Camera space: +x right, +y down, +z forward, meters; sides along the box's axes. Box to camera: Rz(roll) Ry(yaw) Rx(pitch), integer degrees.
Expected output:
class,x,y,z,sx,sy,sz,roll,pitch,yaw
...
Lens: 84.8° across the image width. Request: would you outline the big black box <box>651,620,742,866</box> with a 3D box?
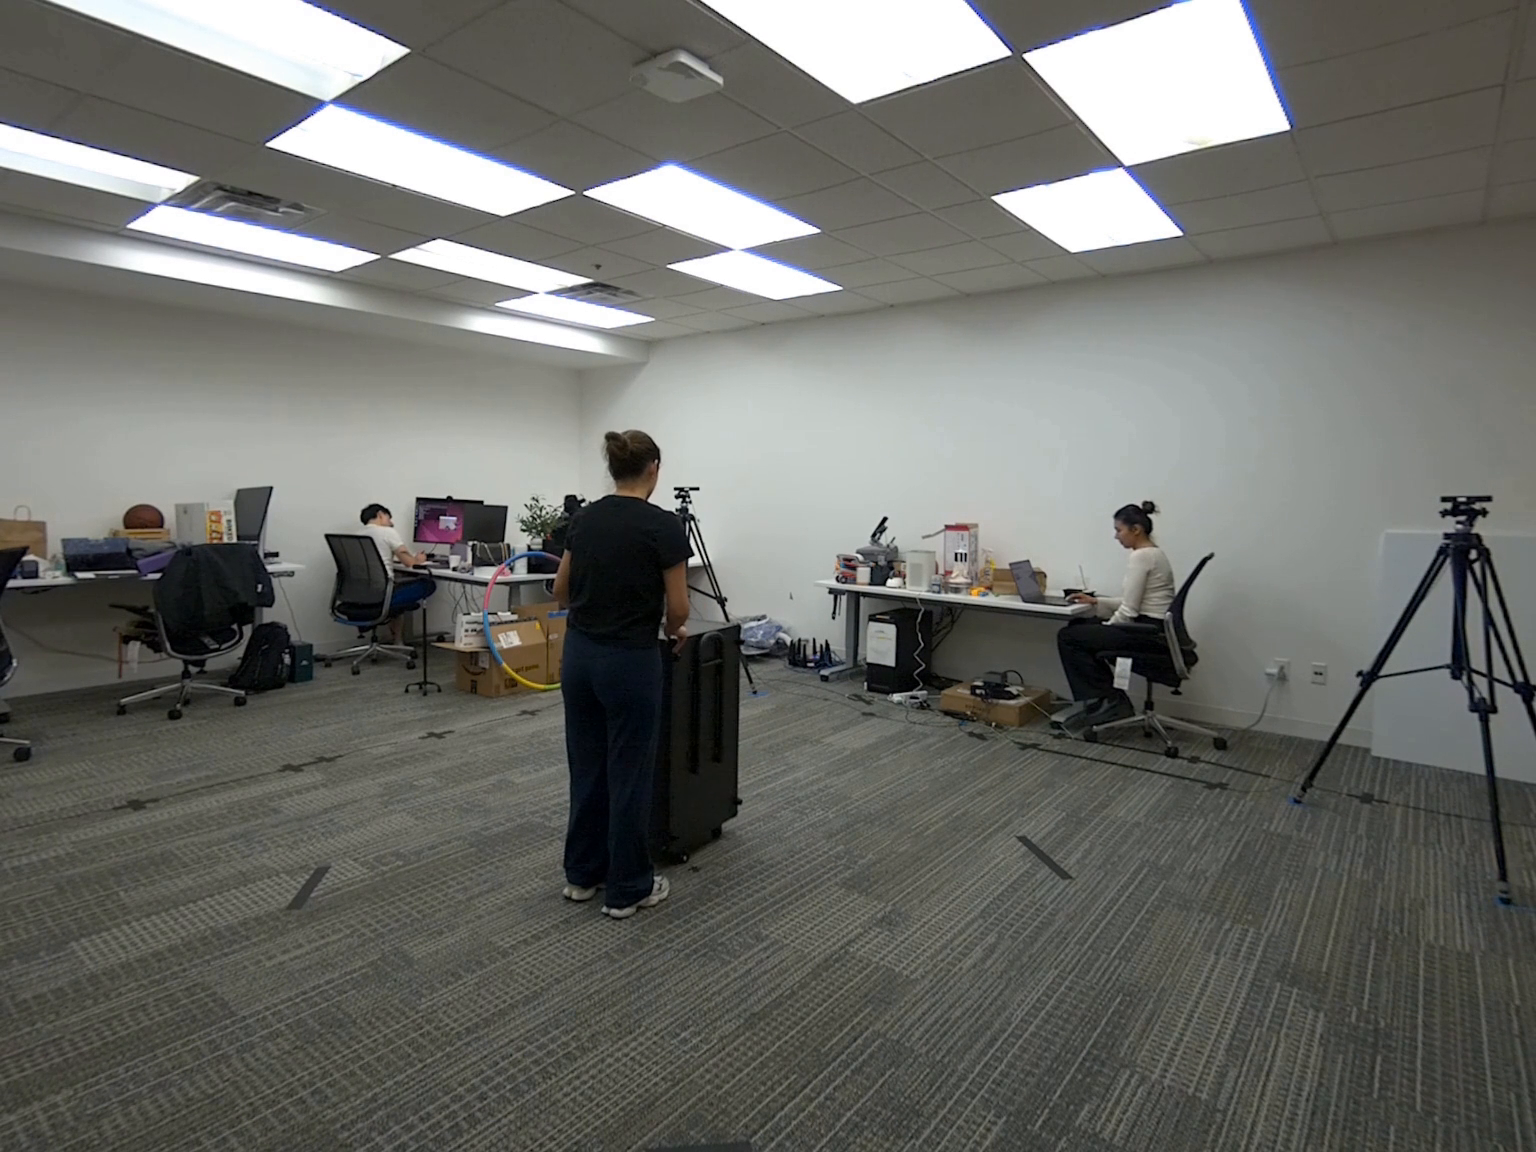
class,x,y,z,sx,sy,sz,roll,pitch,yaw
big black box,-0.354,0.621,3.336,0.408,0.859,0.507,4,4,30
